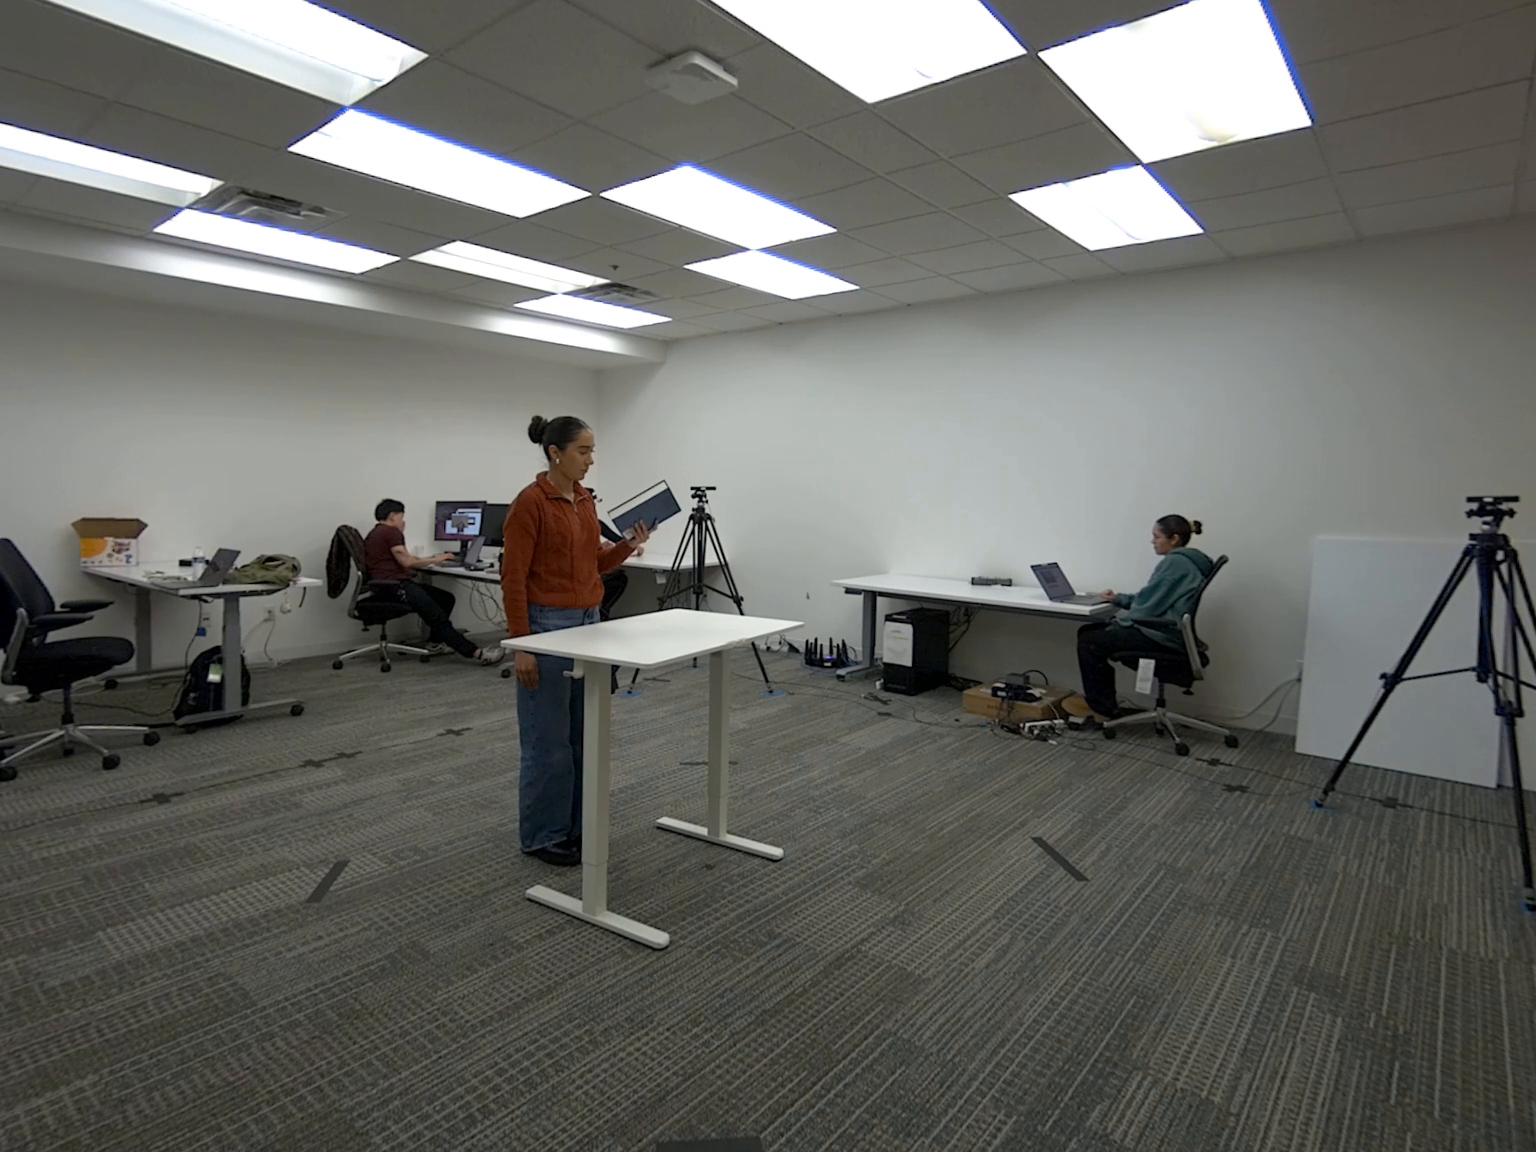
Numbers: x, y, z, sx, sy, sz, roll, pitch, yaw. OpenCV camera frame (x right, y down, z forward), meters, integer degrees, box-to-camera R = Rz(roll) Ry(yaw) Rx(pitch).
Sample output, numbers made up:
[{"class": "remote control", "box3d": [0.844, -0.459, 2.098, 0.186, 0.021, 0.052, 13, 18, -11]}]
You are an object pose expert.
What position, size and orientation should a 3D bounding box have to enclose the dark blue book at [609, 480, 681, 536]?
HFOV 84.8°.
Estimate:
[{"class": "dark blue book", "box3d": [-0.476, -0.242, 3.190, 0.245, 0.047, 0.157, -29, -35, -3]}]
